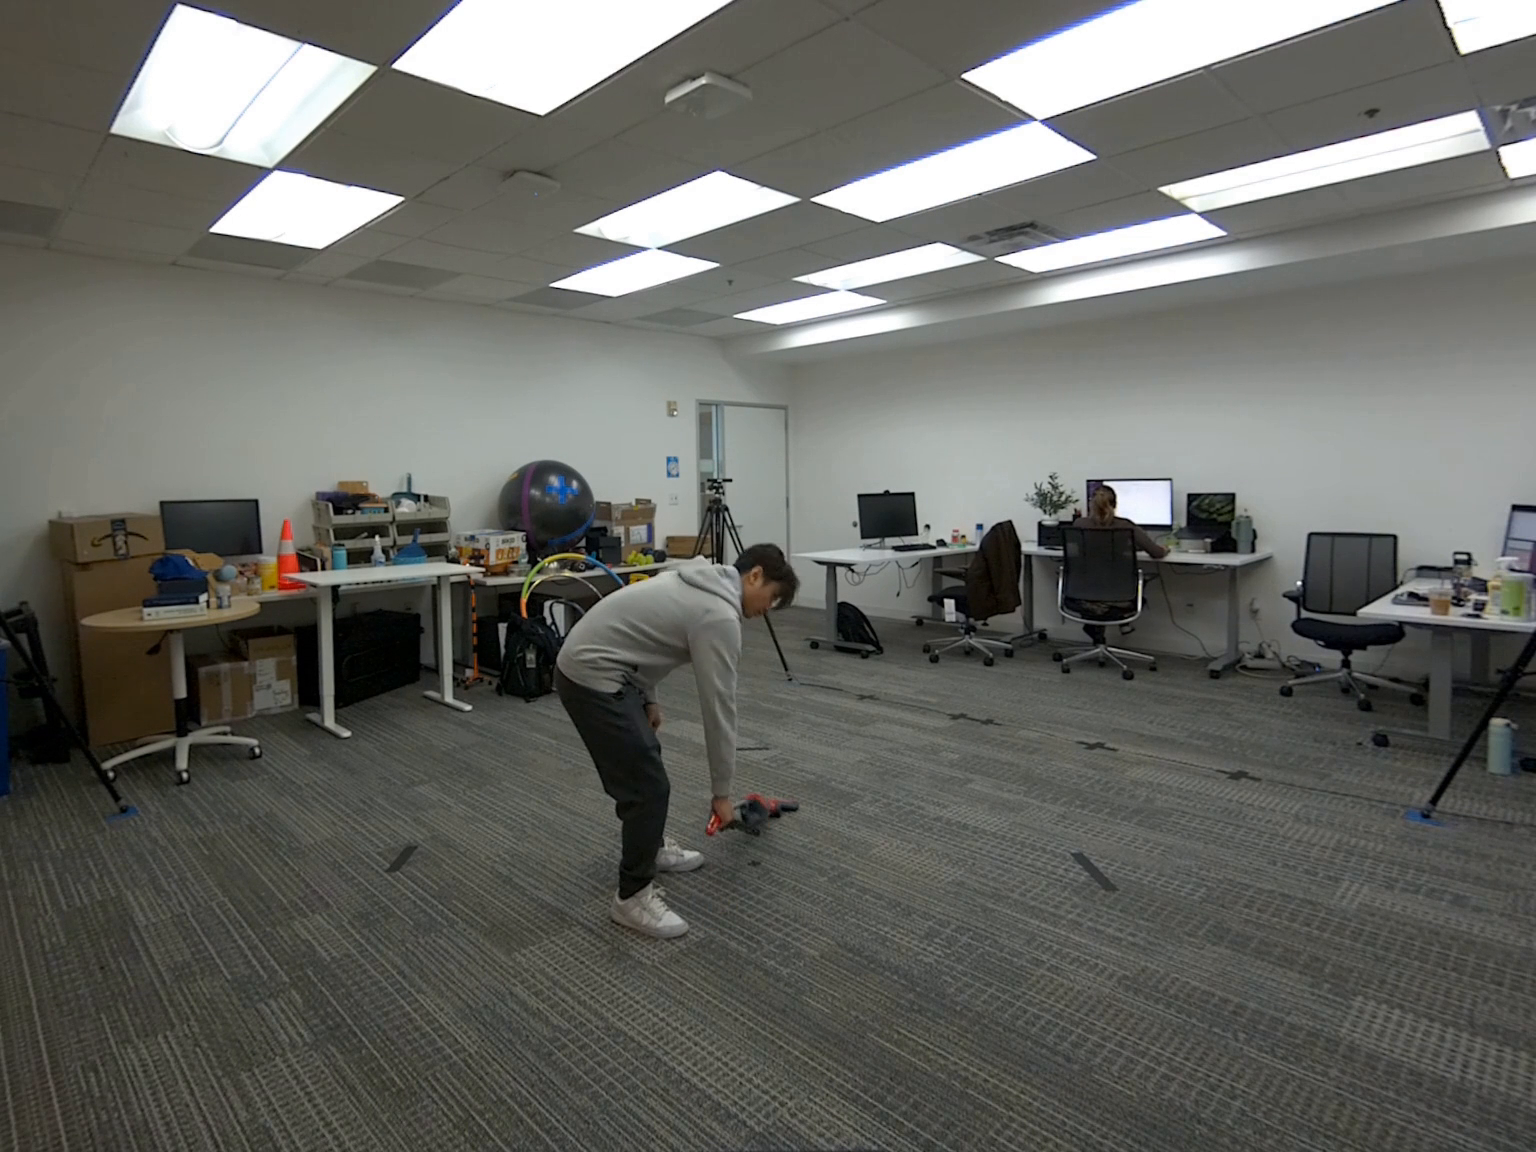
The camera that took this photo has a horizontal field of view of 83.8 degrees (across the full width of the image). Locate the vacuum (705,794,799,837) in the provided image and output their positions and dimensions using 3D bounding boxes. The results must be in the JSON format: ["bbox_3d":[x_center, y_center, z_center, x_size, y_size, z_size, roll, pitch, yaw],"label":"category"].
[{"bbox_3d":[-0.091,0.875,3.116,0.256,0.145,1.027,8,-8,11],"label":"vacuum"}]
